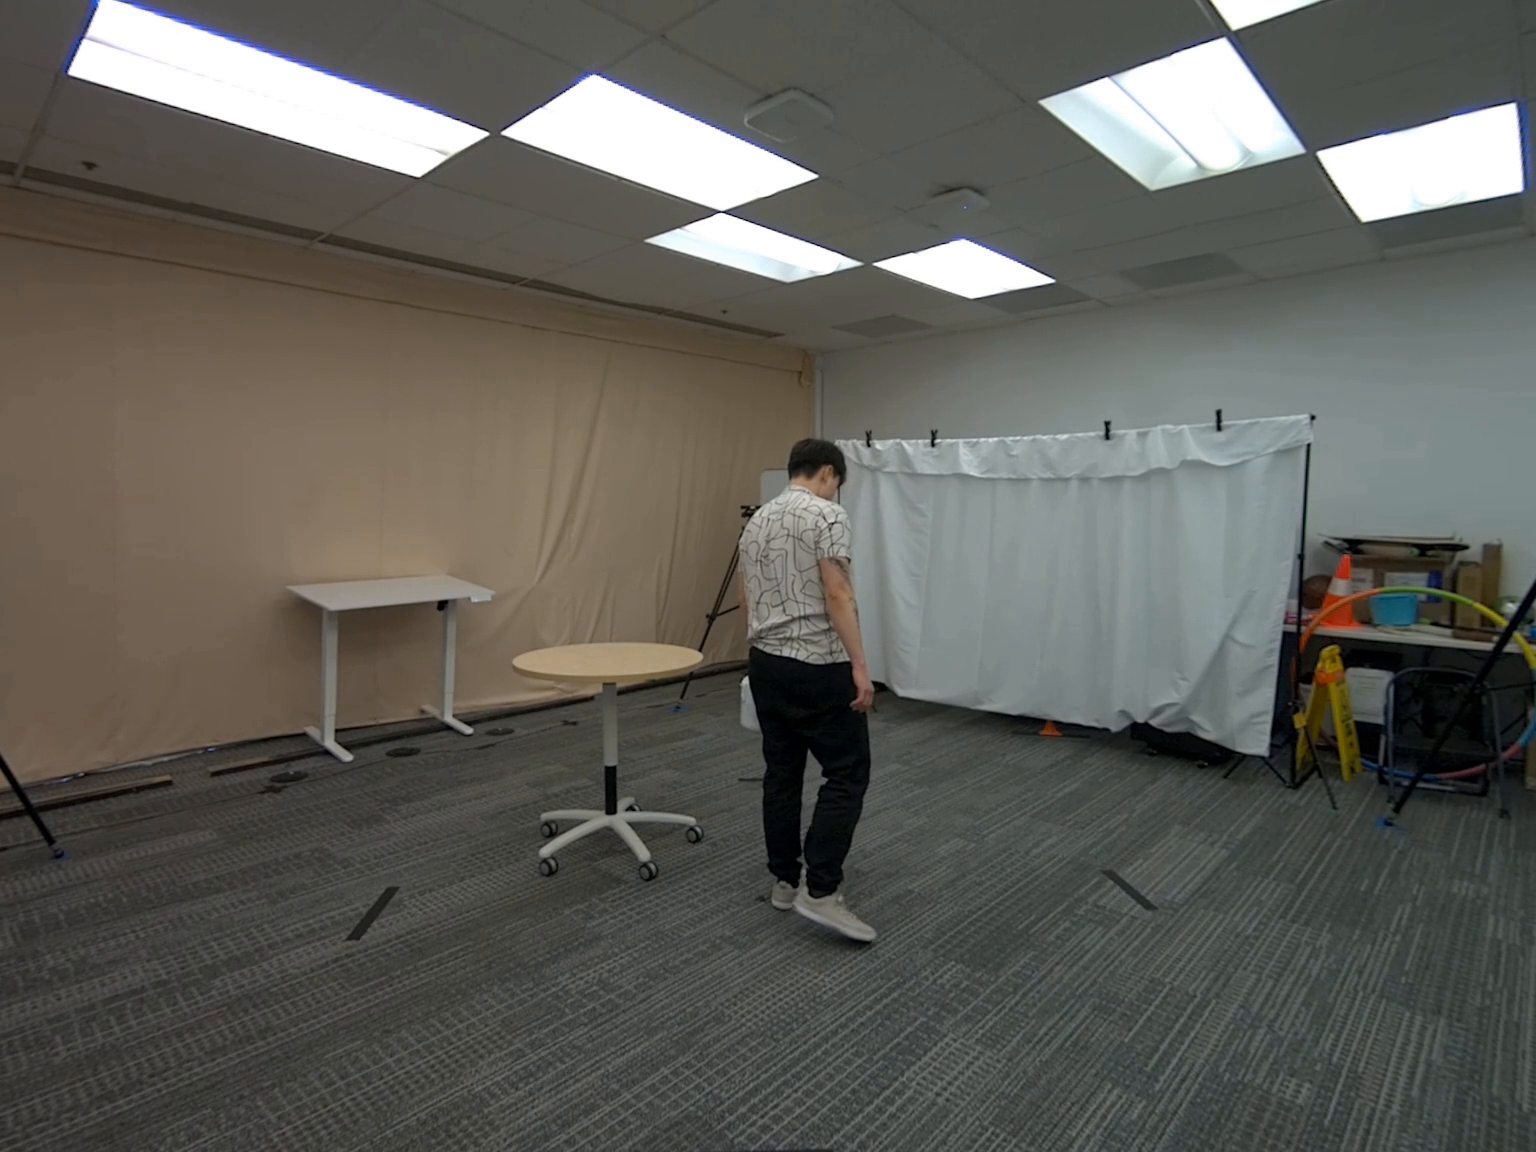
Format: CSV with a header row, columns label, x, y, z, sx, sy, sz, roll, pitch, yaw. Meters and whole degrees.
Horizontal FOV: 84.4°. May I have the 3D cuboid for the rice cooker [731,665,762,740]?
label,x,y,z,sx,sy,sz,roll,pitch,yaw
rice cooker,0.006,0.473,3.212,0.216,0.232,0.222,3,2,-19
